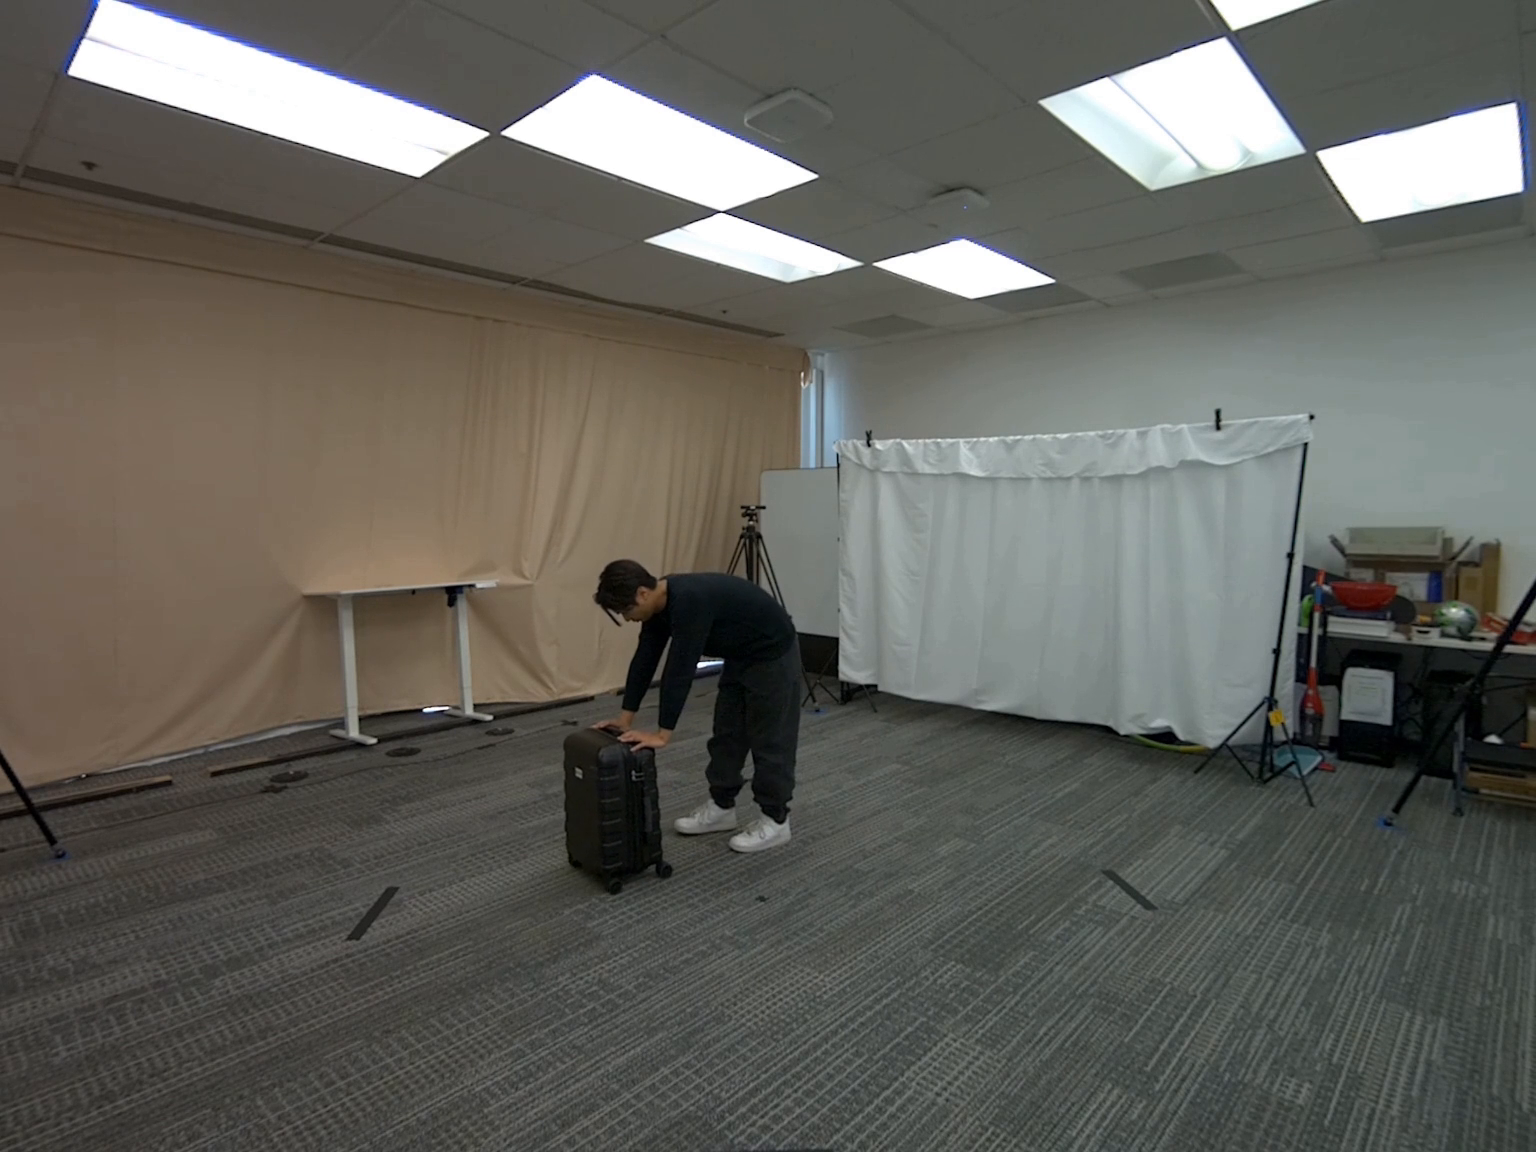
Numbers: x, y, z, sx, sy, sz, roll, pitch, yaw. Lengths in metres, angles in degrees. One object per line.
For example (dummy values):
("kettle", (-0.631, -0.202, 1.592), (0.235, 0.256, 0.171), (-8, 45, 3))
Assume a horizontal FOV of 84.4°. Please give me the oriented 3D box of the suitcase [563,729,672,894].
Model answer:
("suitcase", (-0.593, 0.858, 3.189), (0.241, 0.547, 0.388), (-5, 7, -38))
